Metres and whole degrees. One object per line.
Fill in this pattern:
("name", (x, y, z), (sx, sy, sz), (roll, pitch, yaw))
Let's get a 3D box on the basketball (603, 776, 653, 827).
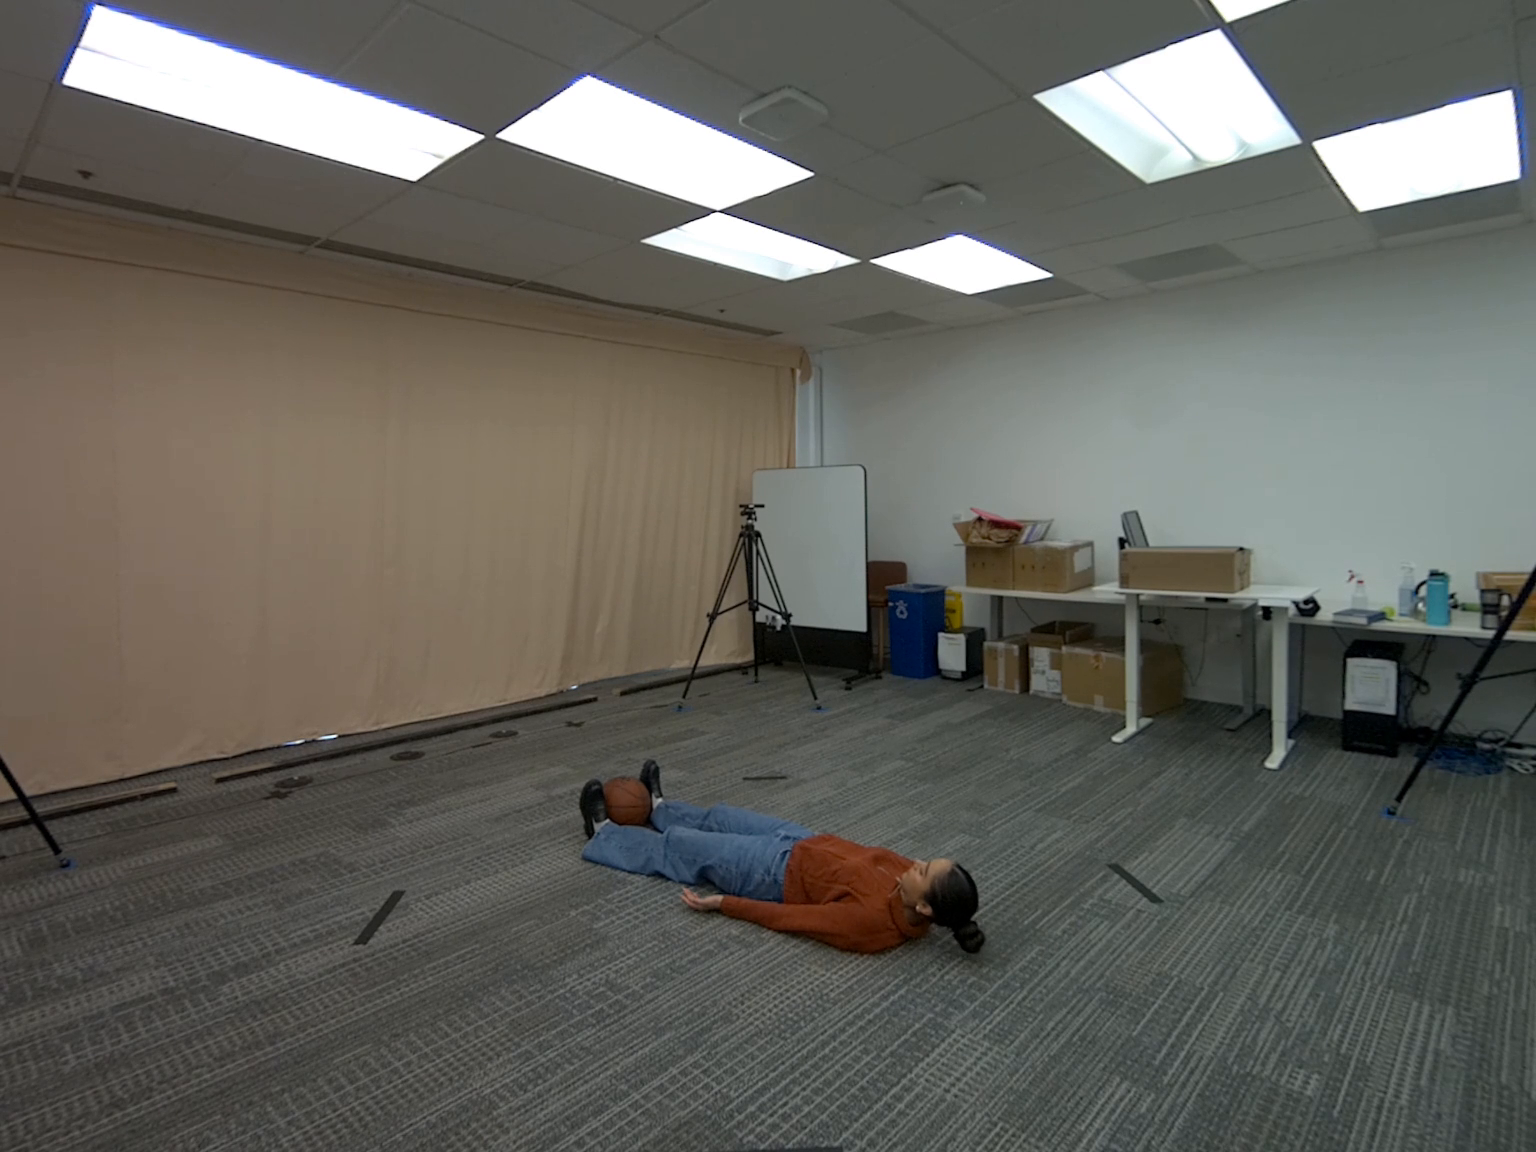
("basketball", (-0.623, 0.979, 3.621), (0.236, 0.235, 0.237), (-1, 4, -2))
